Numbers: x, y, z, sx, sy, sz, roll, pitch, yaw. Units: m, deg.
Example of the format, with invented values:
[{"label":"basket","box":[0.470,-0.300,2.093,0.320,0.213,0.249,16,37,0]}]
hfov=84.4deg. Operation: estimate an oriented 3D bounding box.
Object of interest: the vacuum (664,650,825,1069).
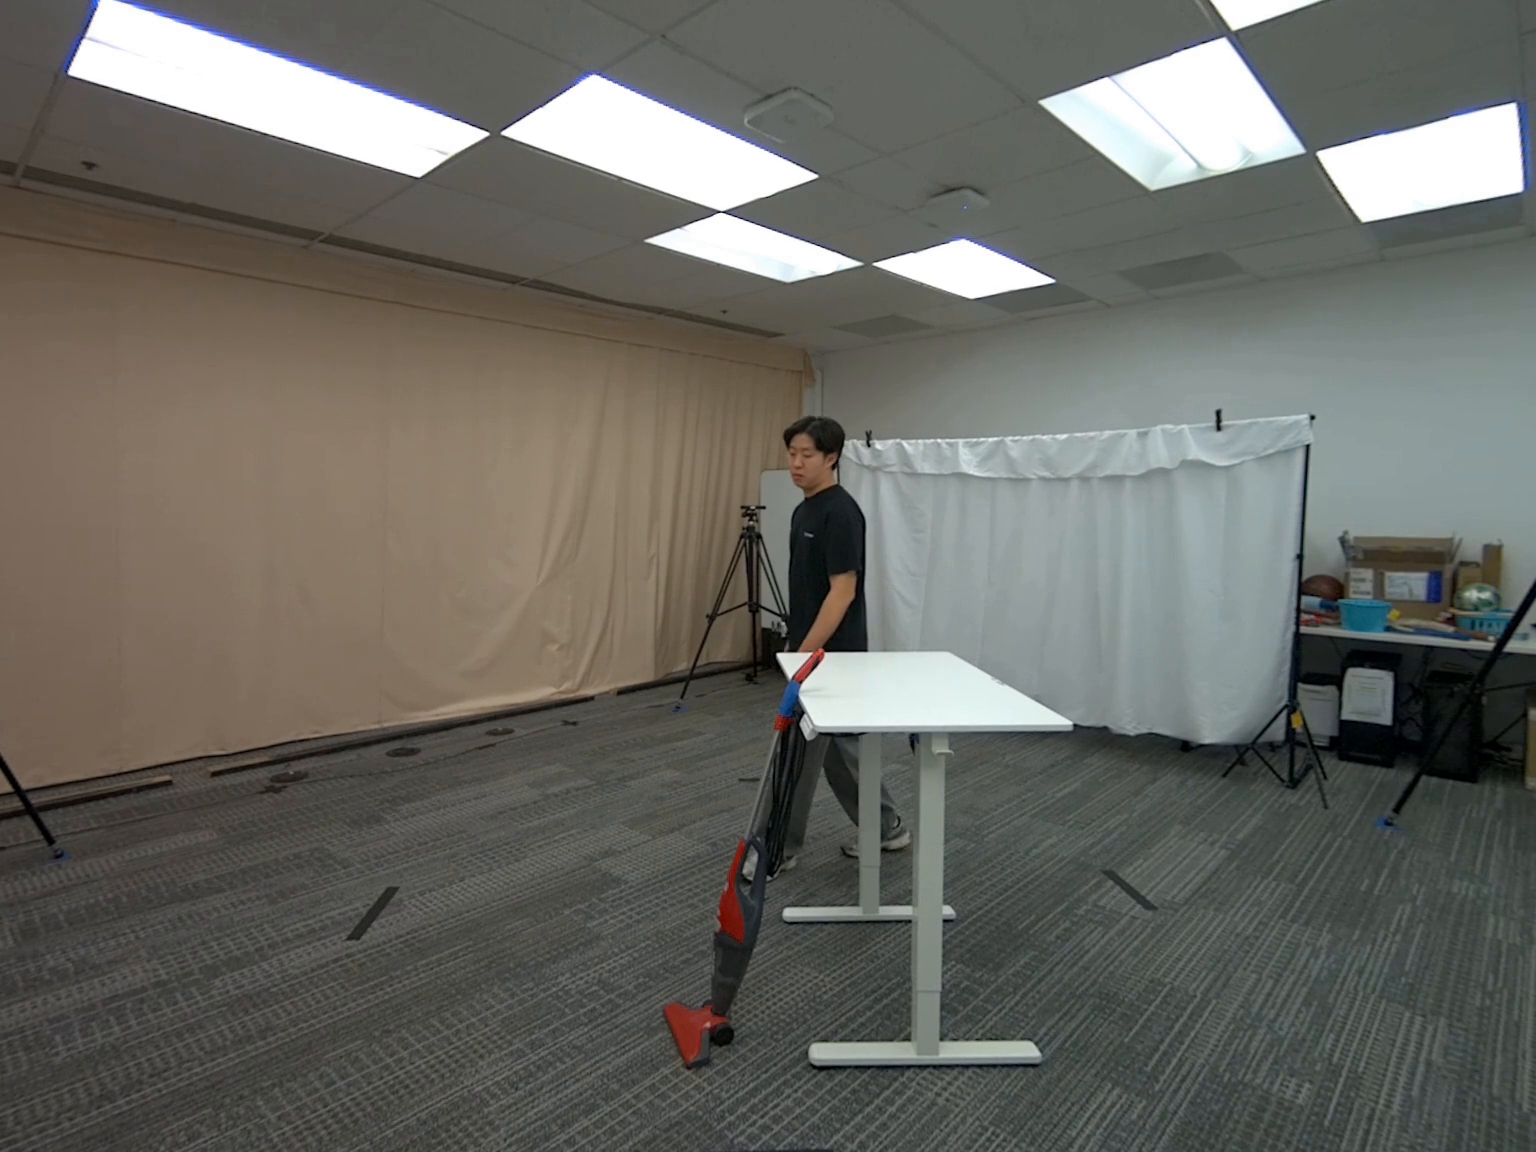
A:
[{"label":"vacuum","box":[-0.019,0.717,2.242,0.140,1.050,0.258,19,-3,-22]}]
